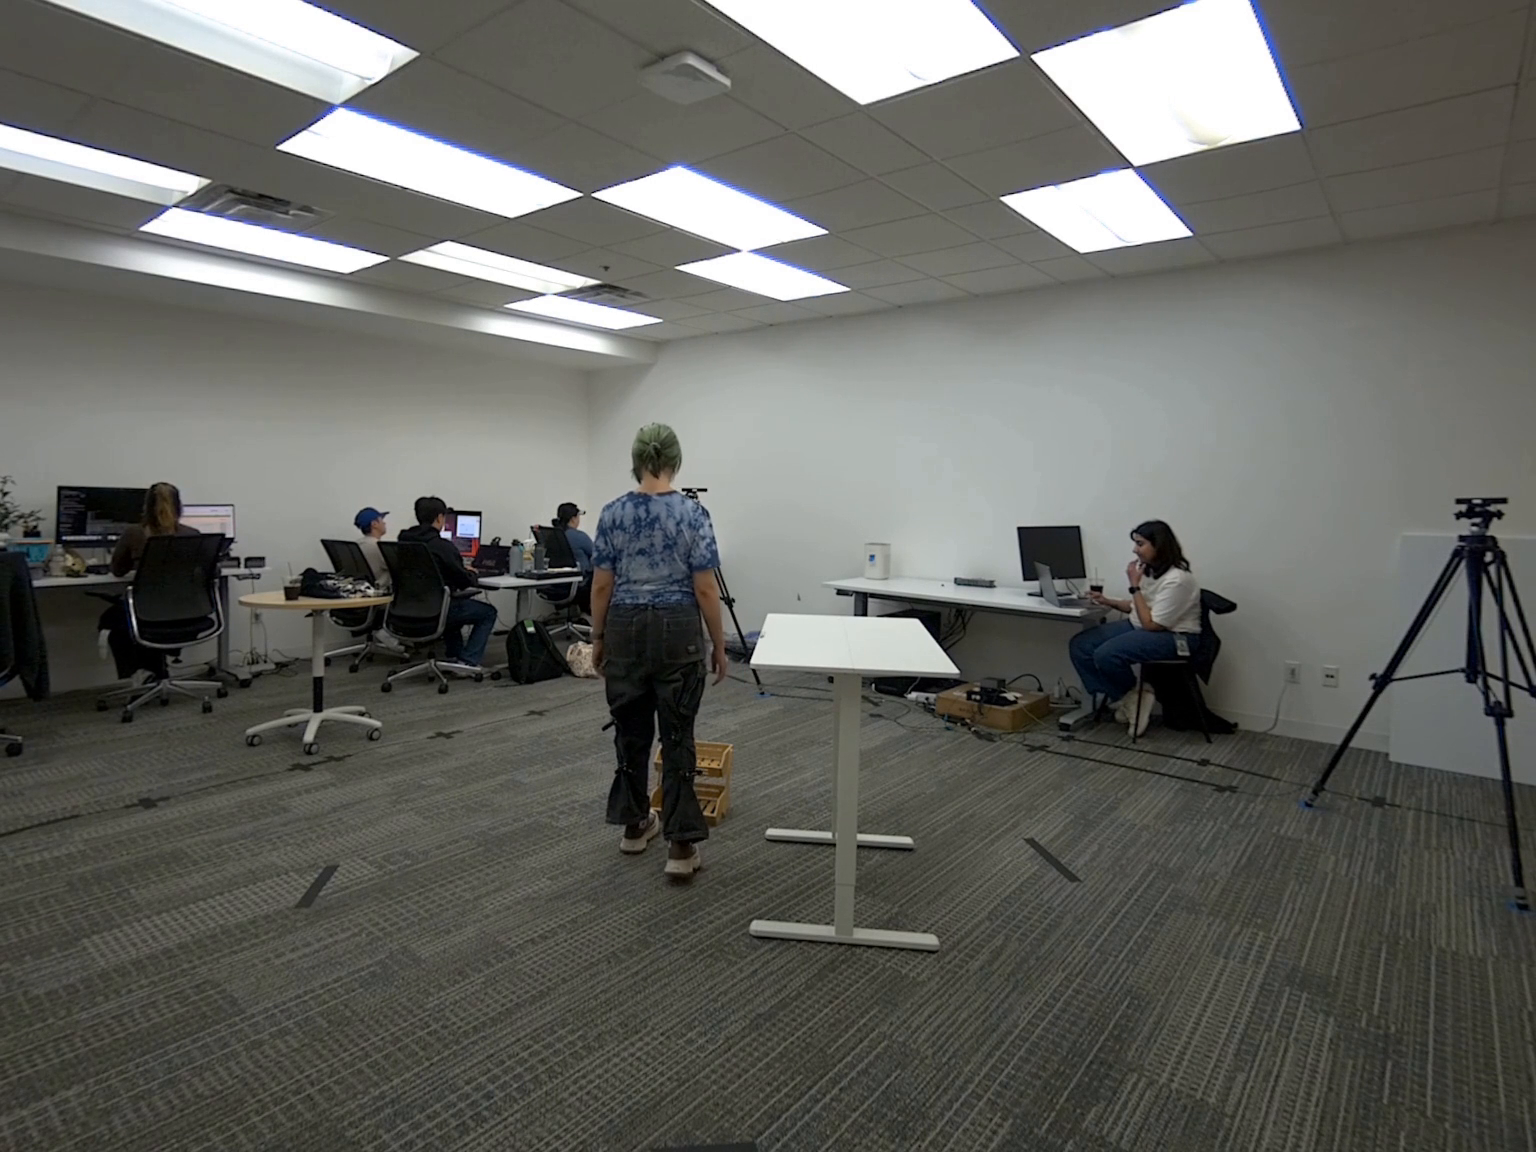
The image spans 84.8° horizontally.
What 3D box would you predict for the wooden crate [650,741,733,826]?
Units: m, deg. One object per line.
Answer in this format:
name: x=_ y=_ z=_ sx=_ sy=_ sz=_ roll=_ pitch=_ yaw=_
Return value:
wooden crate: x=-0.338 y=0.878 z=3.679 sx=0.329 sy=0.272 sz=0.299 roll=1 pitch=4 yaw=12
